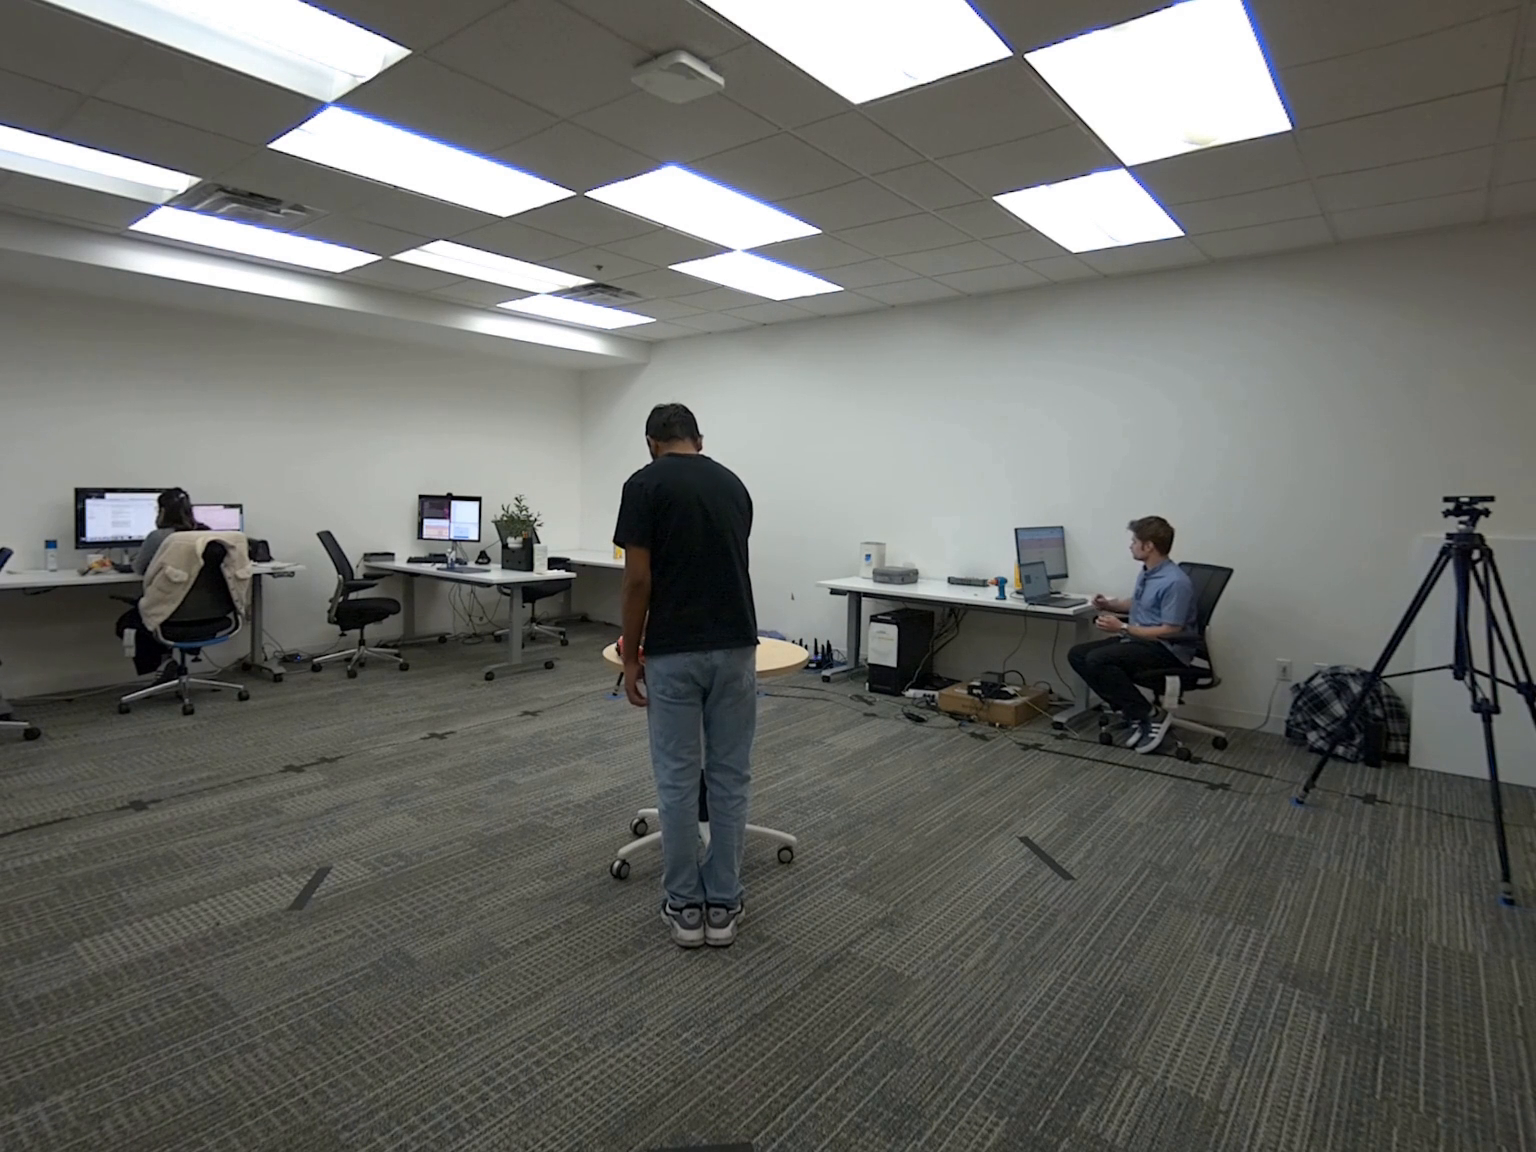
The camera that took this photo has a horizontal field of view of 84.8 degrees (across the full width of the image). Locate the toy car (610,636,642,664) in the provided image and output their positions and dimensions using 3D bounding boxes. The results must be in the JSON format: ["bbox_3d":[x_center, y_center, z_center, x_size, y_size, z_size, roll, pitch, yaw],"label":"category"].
[{"bbox_3d":[-0.478,0.255,3.043,0.128,0.082,0.262,-1,16,-17],"label":"toy car"}]
